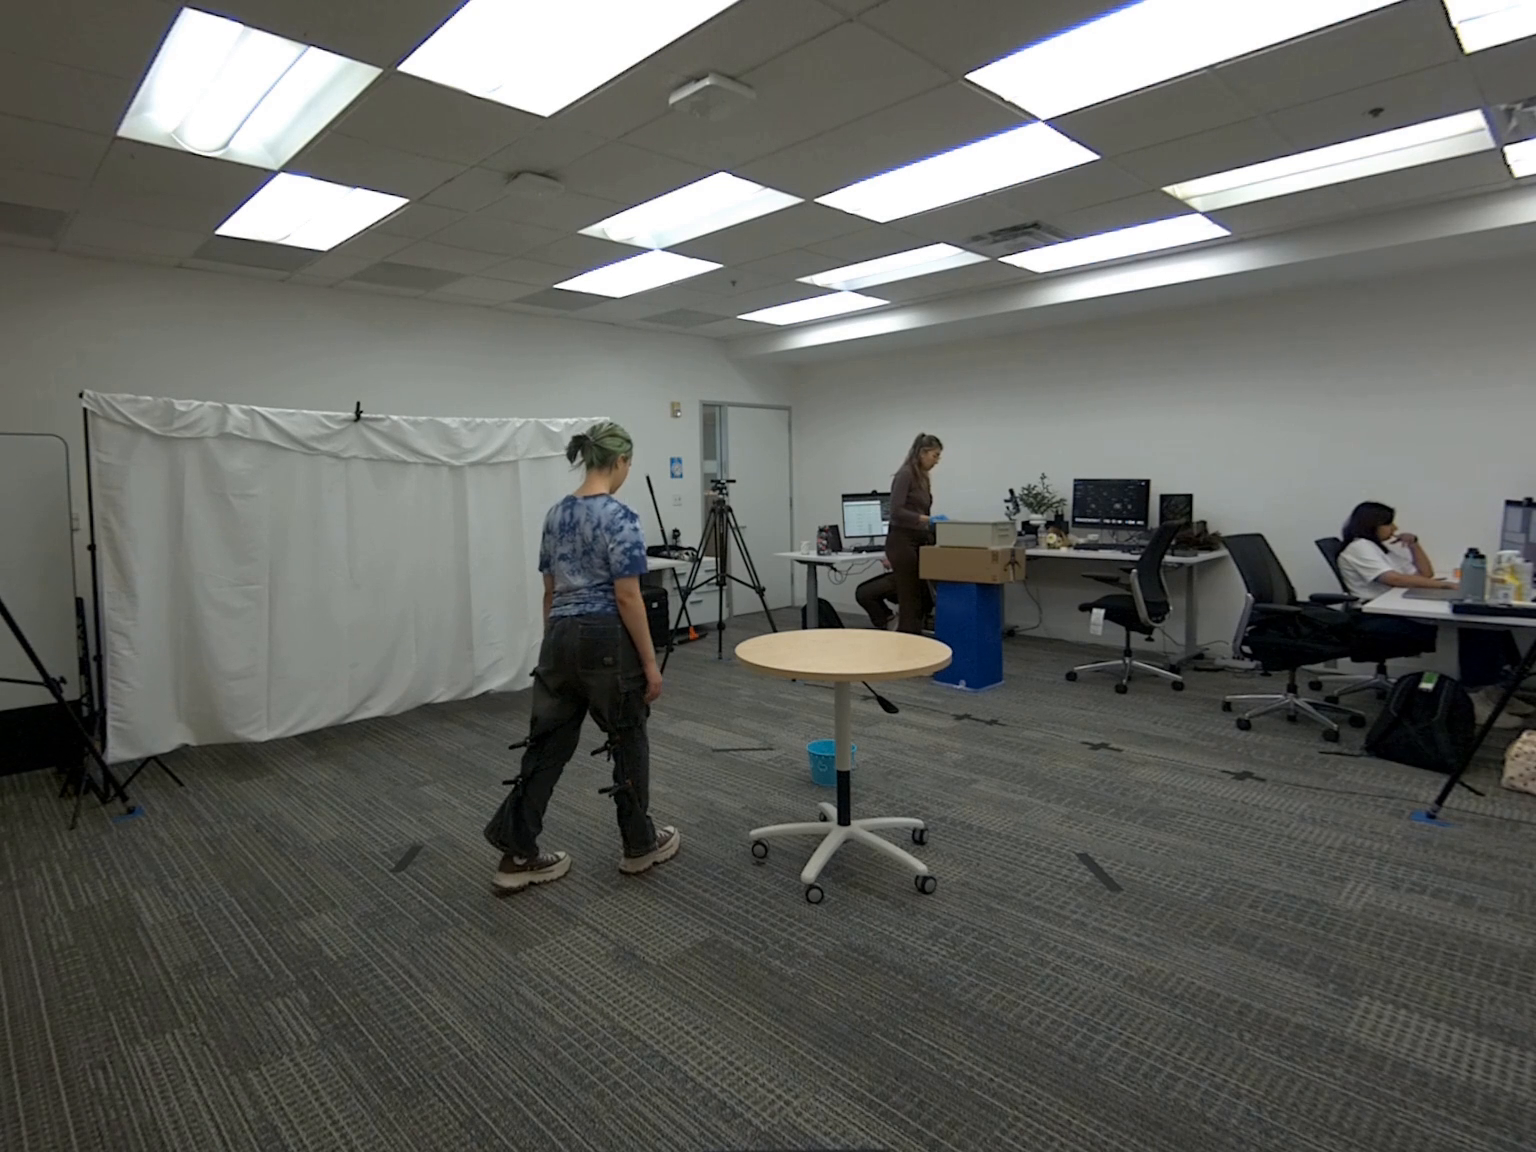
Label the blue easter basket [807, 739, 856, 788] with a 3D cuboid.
[{"bbox_3d":[0.300,0.868,3.969,0.243,0.155,0.245,-1,6,-2],"label":"blue easter basket"}]
